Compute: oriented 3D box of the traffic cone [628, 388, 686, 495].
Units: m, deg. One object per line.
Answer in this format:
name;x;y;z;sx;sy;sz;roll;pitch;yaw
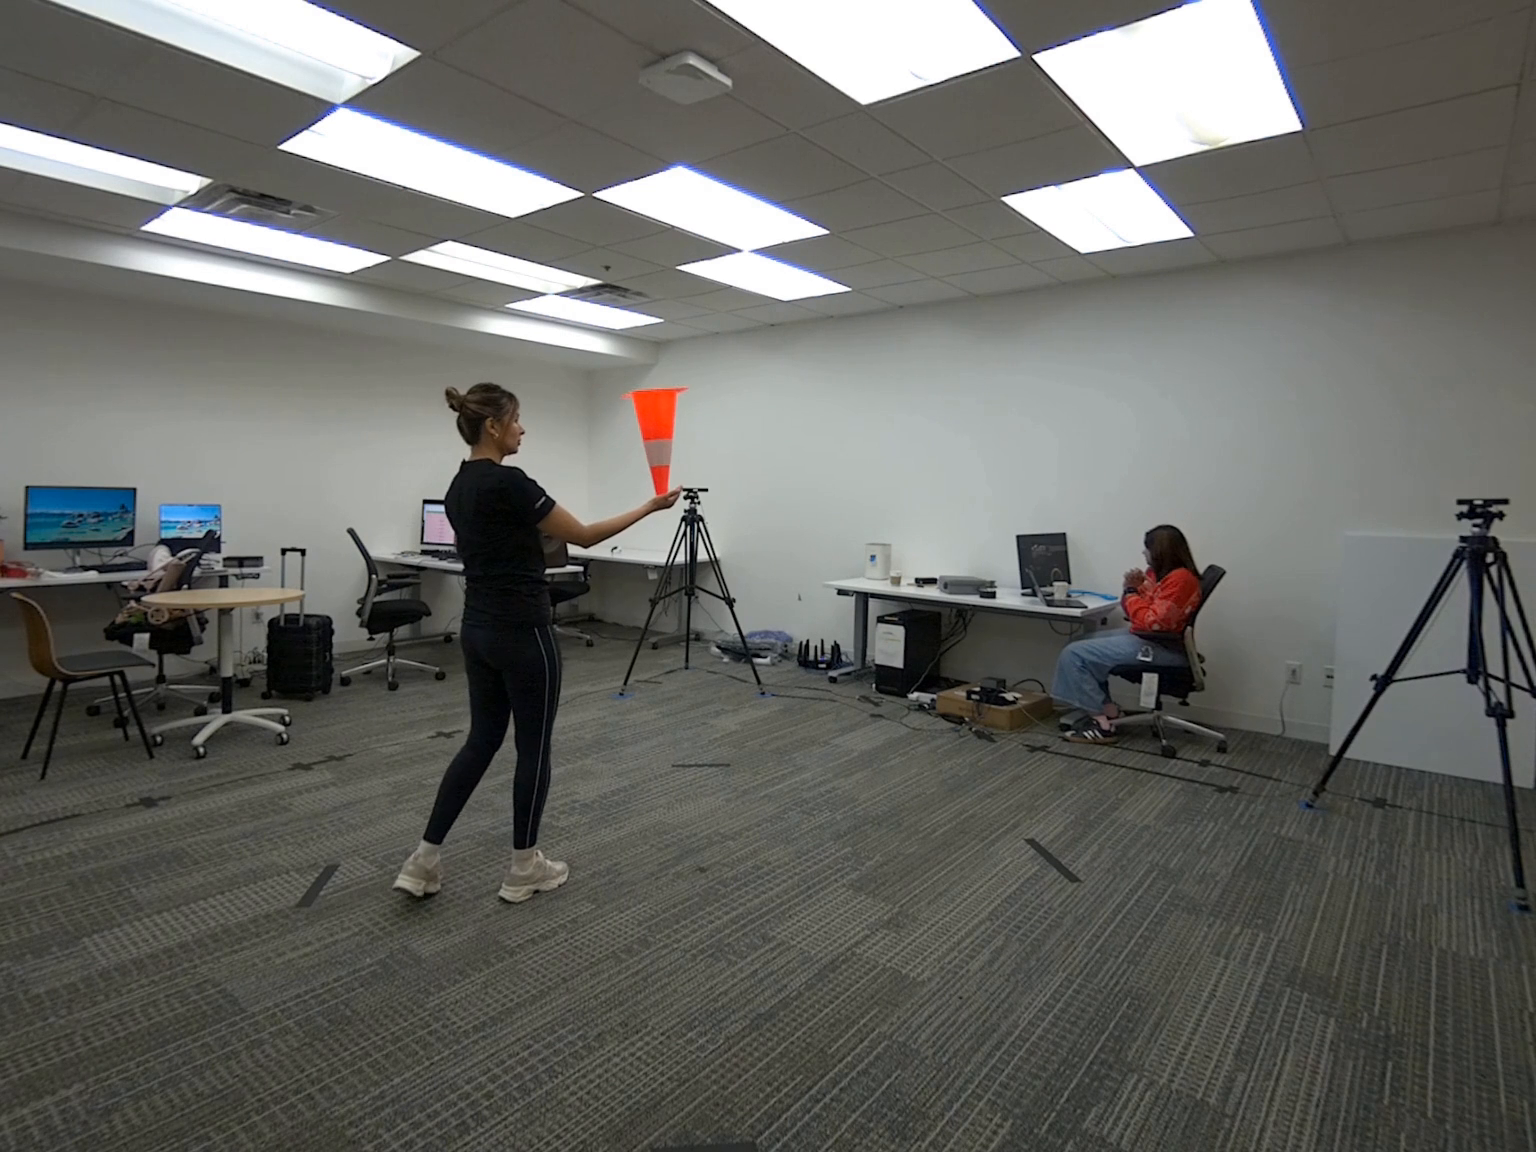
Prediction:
traffic cone;-0.400;-0.449;2.973;0.200;0.382;0.209;-7;5;-33
